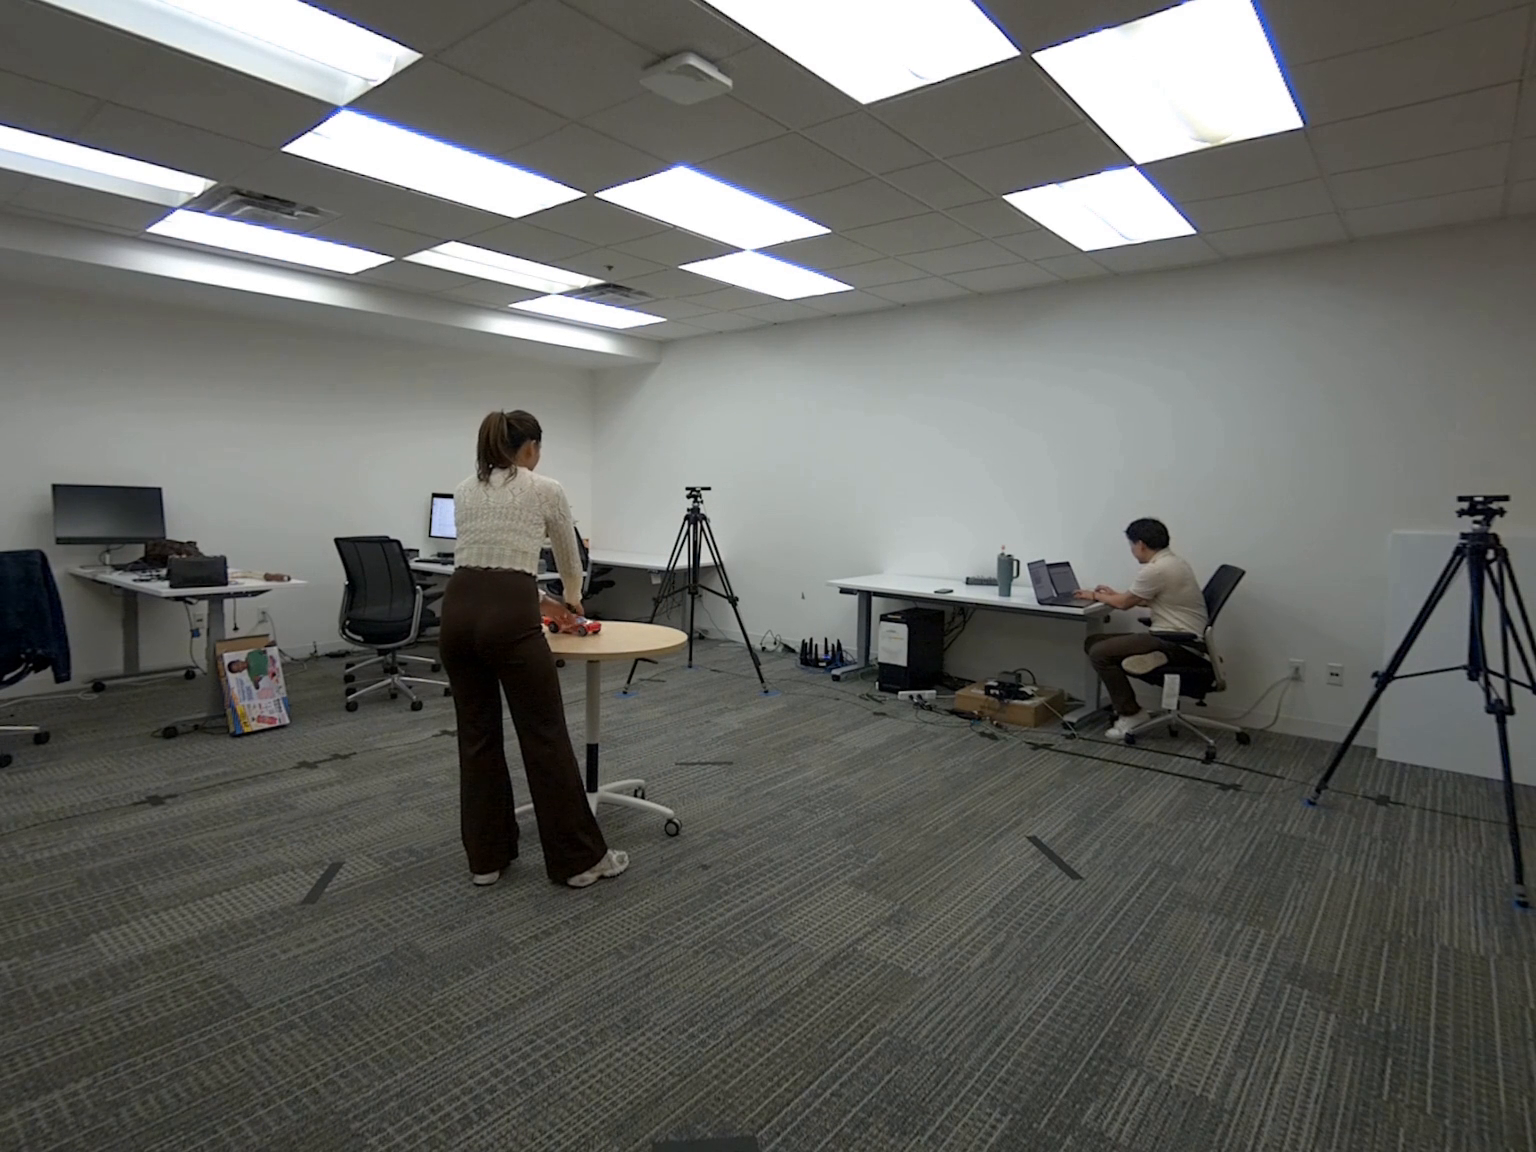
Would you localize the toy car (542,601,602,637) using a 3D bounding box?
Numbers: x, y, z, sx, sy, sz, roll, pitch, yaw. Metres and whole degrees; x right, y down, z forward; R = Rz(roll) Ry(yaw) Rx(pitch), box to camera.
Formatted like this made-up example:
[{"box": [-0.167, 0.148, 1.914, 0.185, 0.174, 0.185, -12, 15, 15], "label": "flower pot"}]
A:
[{"box": [-0.836, 0.202, 3.527, 0.262, 0.082, 0.127, 15, 10, 25], "label": "toy car"}]
